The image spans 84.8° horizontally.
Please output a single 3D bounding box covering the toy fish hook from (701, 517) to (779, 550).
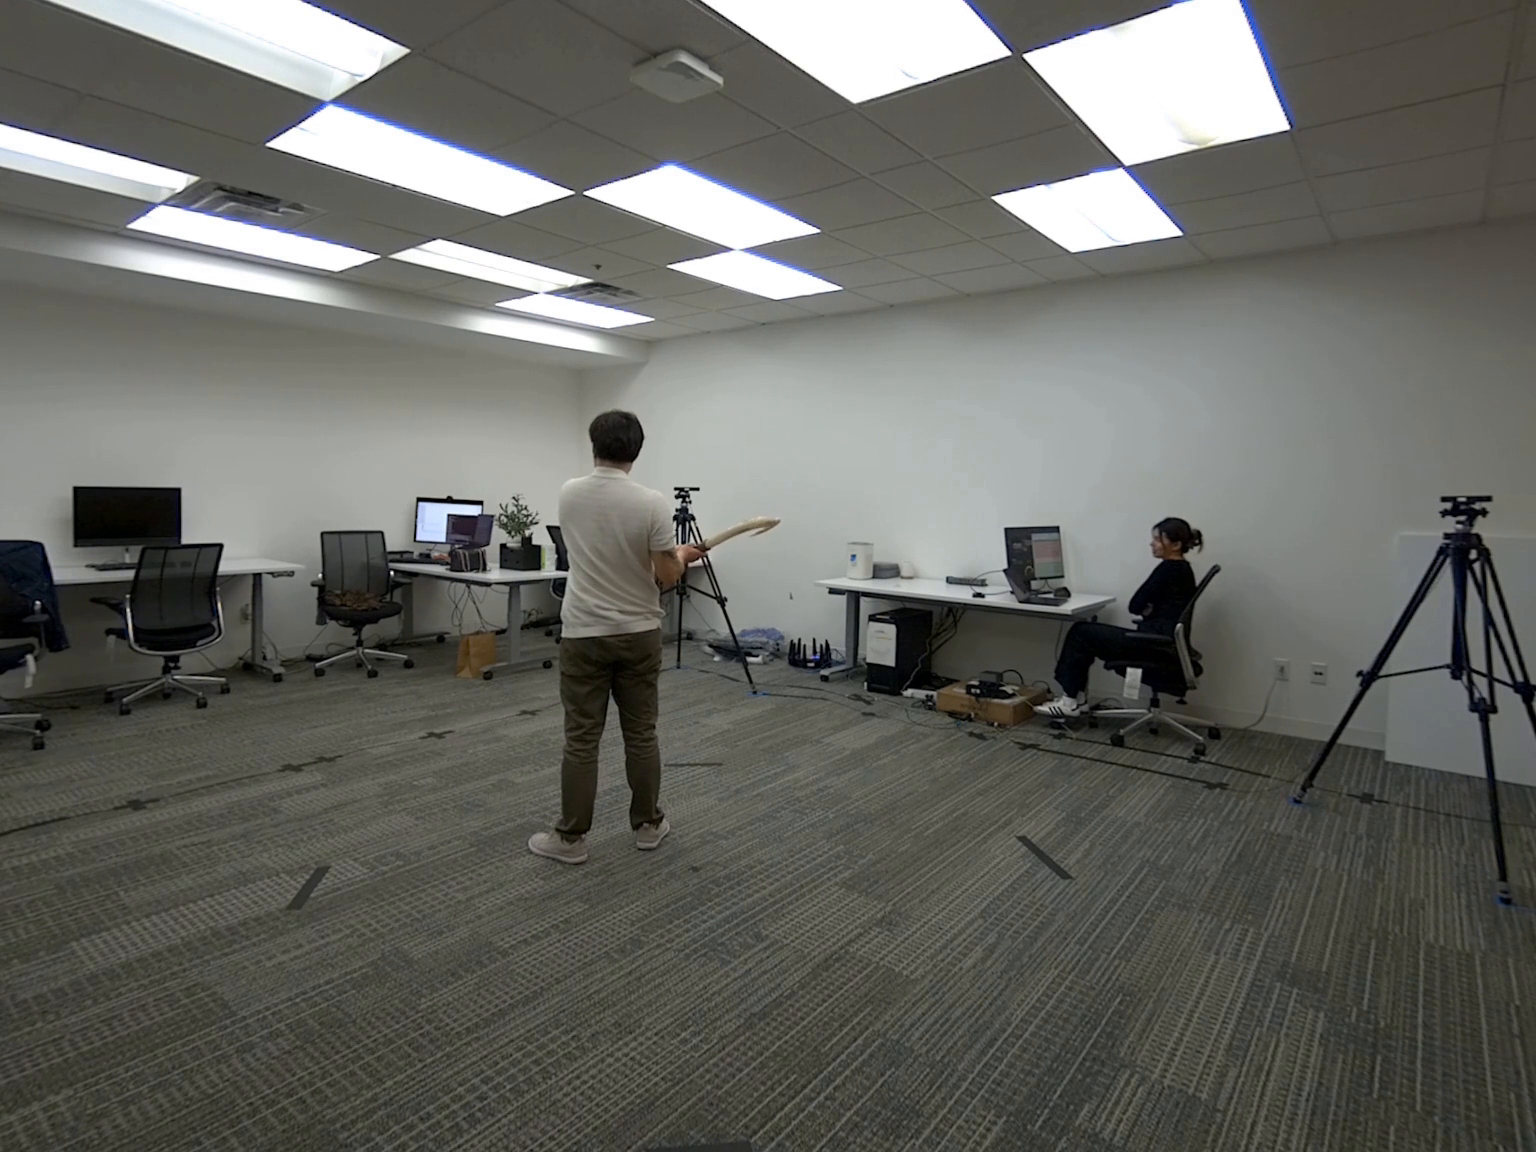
[{"bbox_3d":[-0.196,-0.143,3.433,0.515,0.049,0.217,-23,-16,37],"label":"toy fish hook"}]
